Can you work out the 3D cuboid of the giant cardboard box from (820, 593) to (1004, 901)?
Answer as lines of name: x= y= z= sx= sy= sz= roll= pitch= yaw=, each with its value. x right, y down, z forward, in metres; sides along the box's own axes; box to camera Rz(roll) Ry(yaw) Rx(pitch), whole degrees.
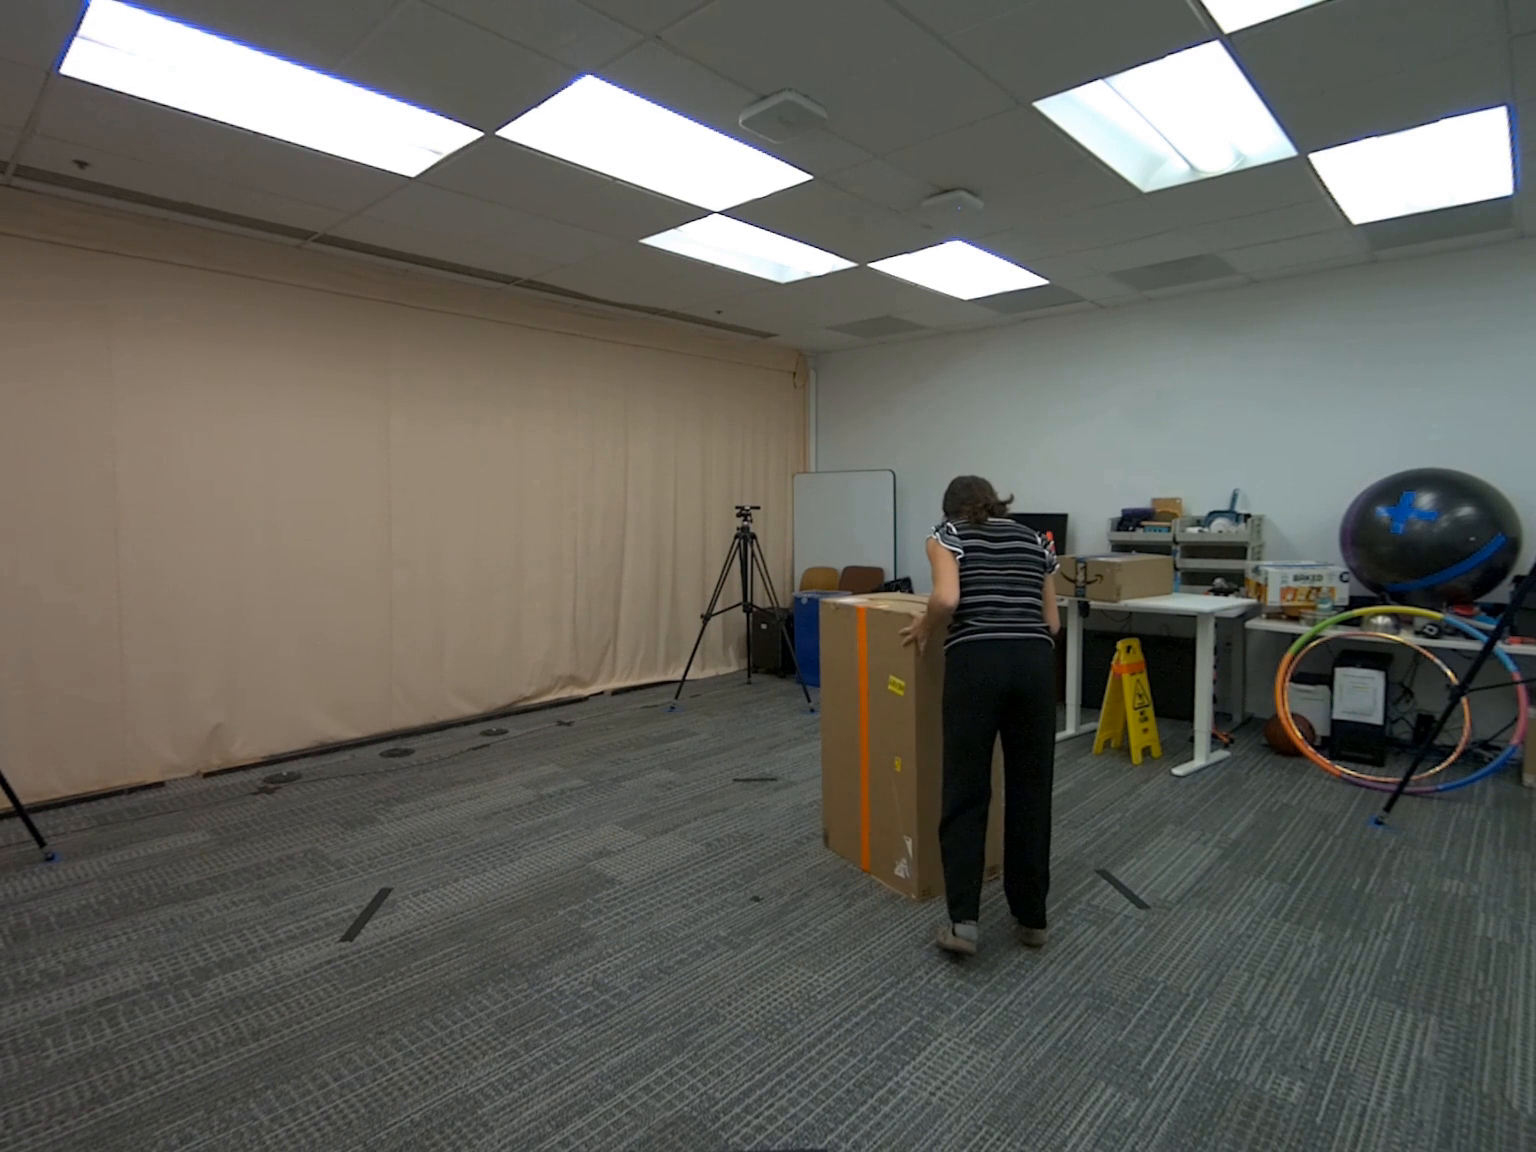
giant cardboard box: x=0.538 y=0.608 z=3.276 sx=0.415 sy=1.024 sz=0.594 roll=-3 pitch=4 yaw=-30
